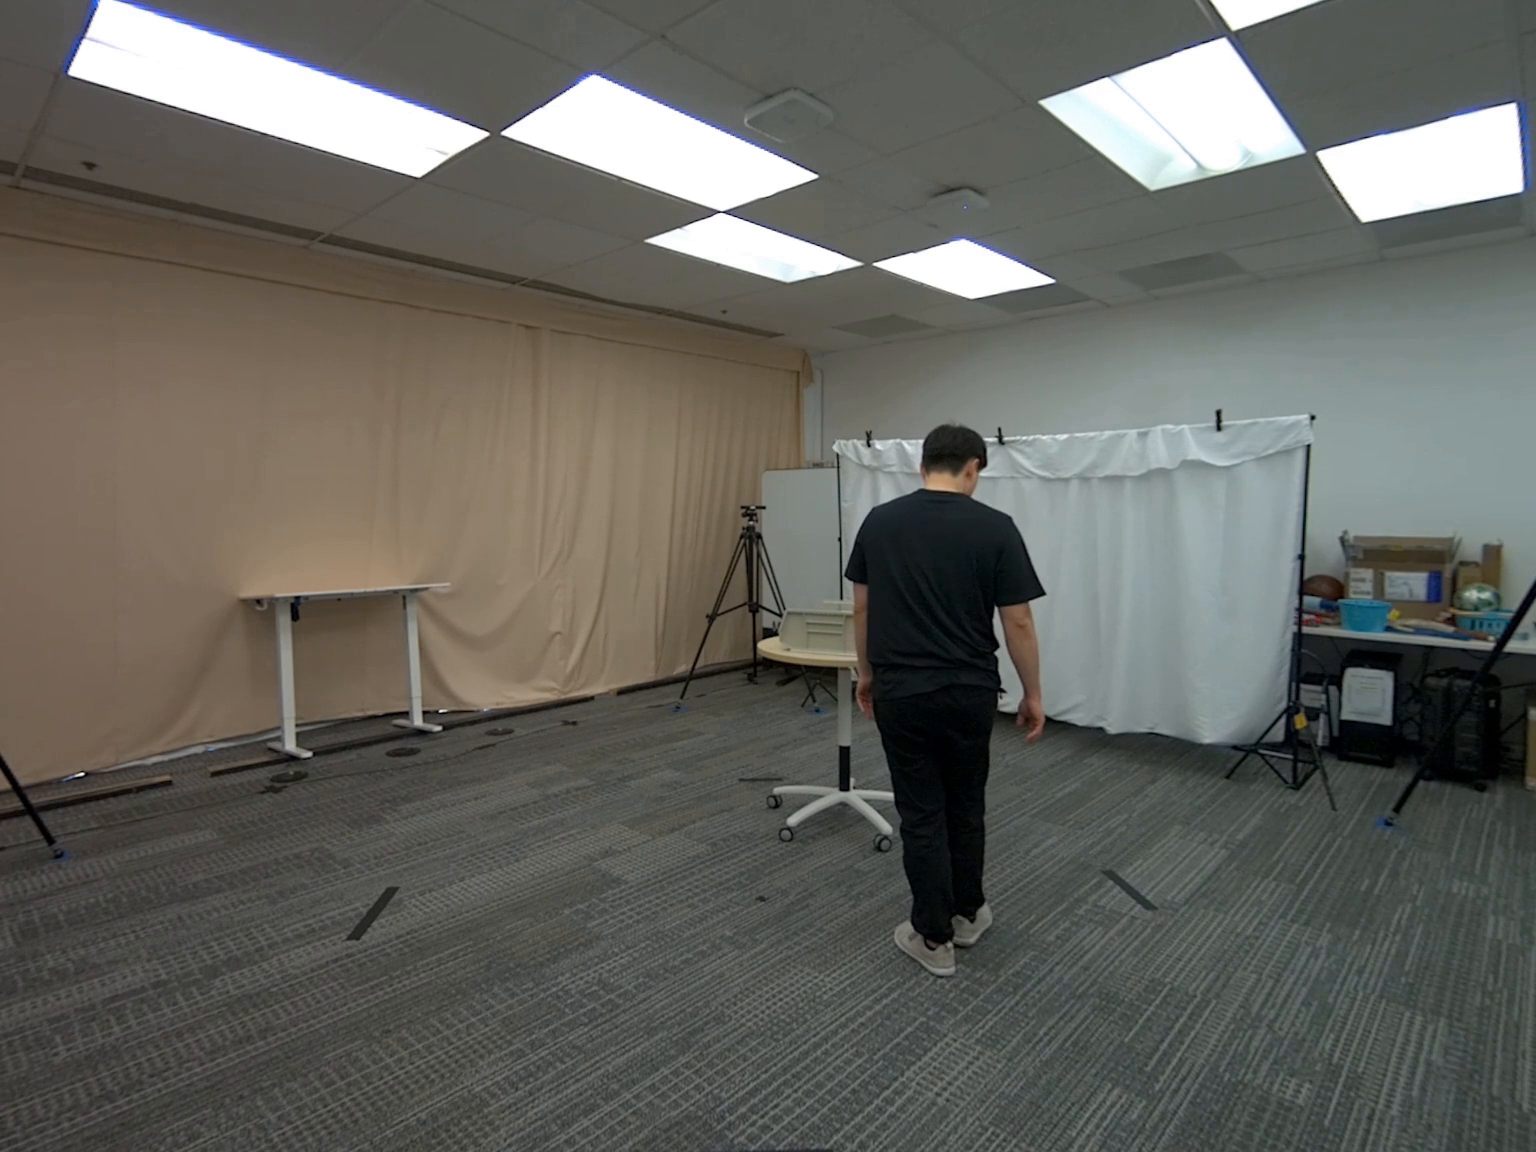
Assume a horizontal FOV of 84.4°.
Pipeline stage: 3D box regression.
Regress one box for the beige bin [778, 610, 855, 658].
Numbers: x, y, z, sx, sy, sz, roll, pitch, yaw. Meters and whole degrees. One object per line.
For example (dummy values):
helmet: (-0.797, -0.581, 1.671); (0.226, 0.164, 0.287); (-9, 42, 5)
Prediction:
beige bin: (0.301, 0.221, 3.624); (0.387, 0.189, 0.412); (4, 4, 25)
